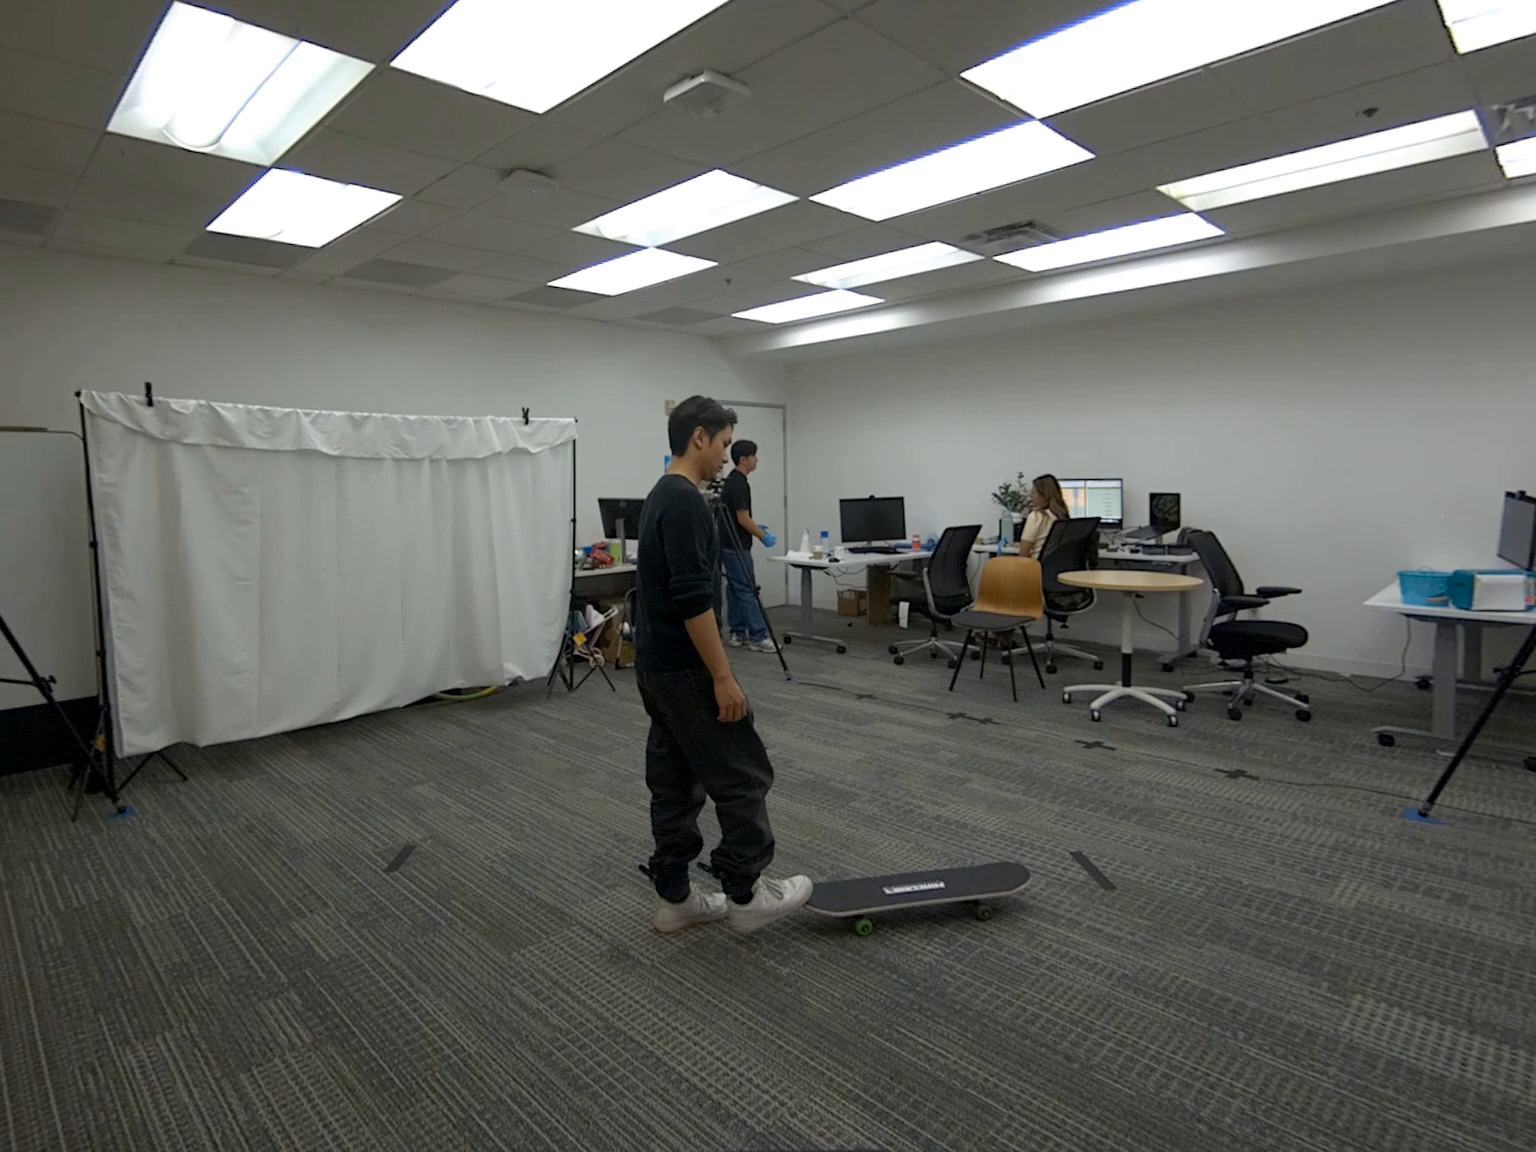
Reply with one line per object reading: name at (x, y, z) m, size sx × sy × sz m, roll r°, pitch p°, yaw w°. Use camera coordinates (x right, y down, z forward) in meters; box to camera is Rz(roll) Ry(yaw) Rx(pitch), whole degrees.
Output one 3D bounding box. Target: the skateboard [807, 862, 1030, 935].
skateboard at (0.465, 1.020, 2.715) m, size 0.777 × 0.110 × 0.196 m, roll -3°, pitch 6°, yaw -11°
